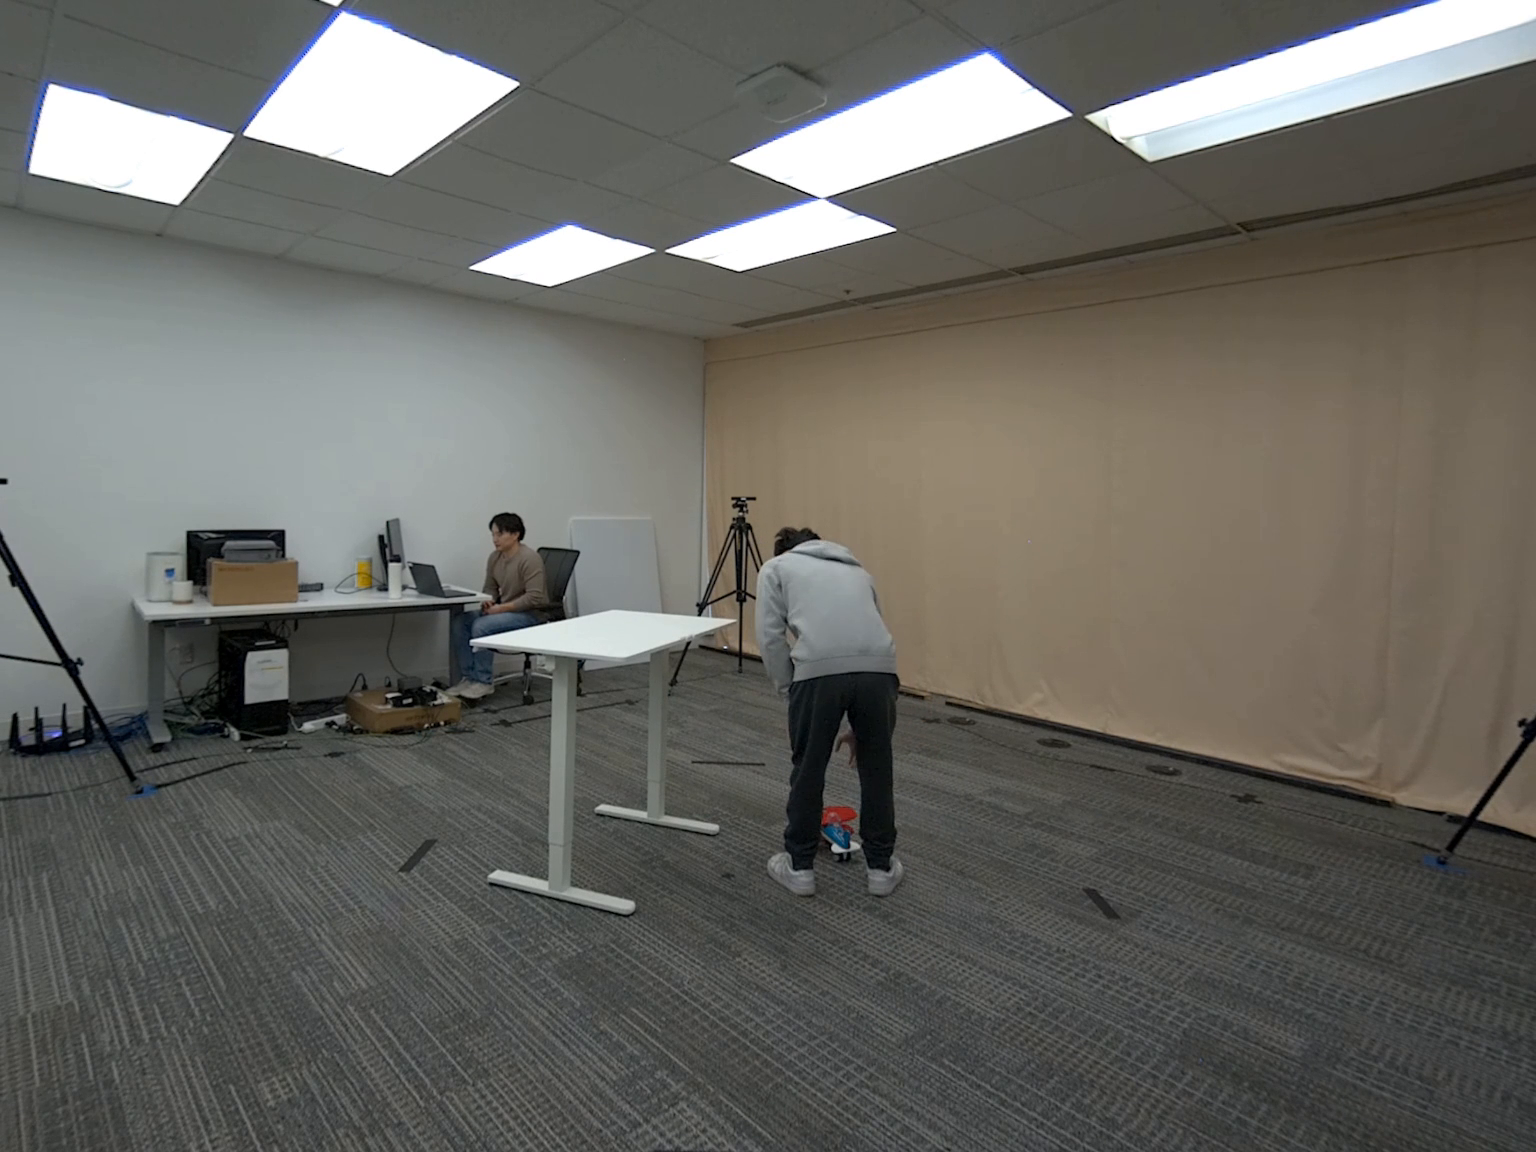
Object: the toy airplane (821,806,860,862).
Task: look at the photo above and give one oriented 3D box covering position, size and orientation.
[{"bbox_3d":[0.258,1.020,3.349,0.265,0.156,0.245,2,3,35],"label":"toy airplane"}]
